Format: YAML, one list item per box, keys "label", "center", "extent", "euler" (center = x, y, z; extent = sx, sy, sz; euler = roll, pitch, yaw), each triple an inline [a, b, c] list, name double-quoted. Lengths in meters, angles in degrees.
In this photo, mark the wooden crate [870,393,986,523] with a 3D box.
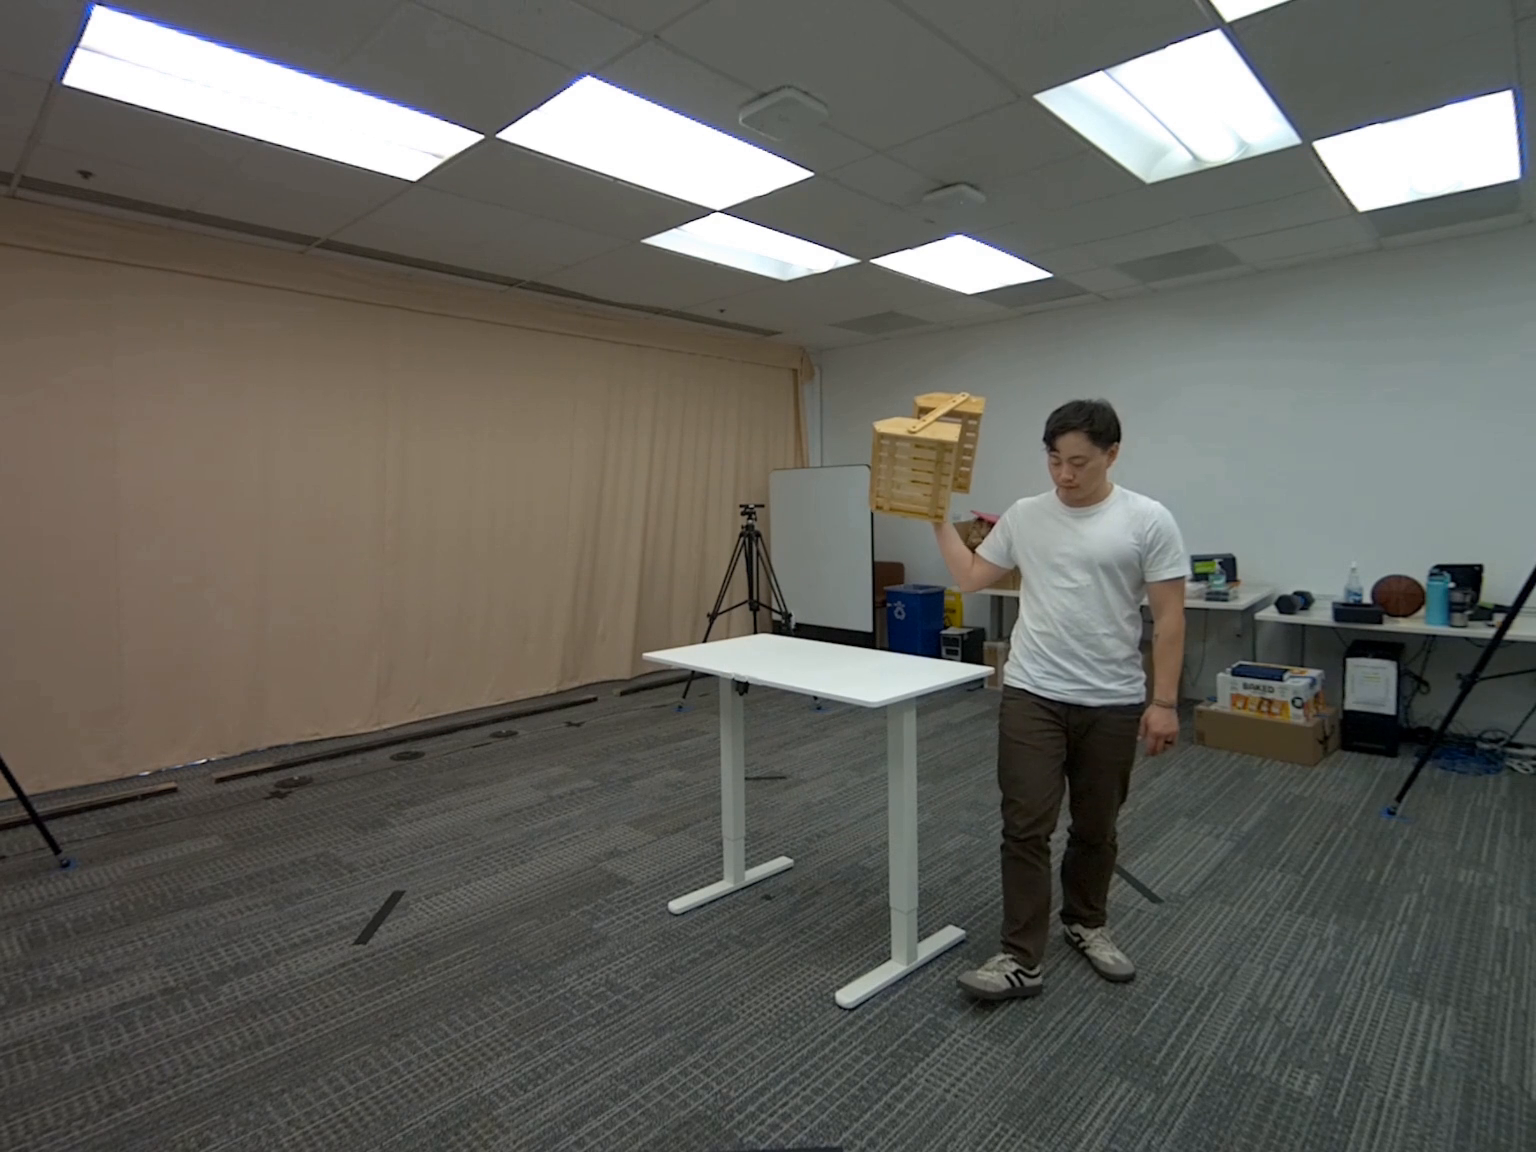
- label: "wooden crate"
  center: [0.494, -0.379, 2.611]
  extent: [0.308, 0.318, 0.274]
  euler: [10, 42, 16]
